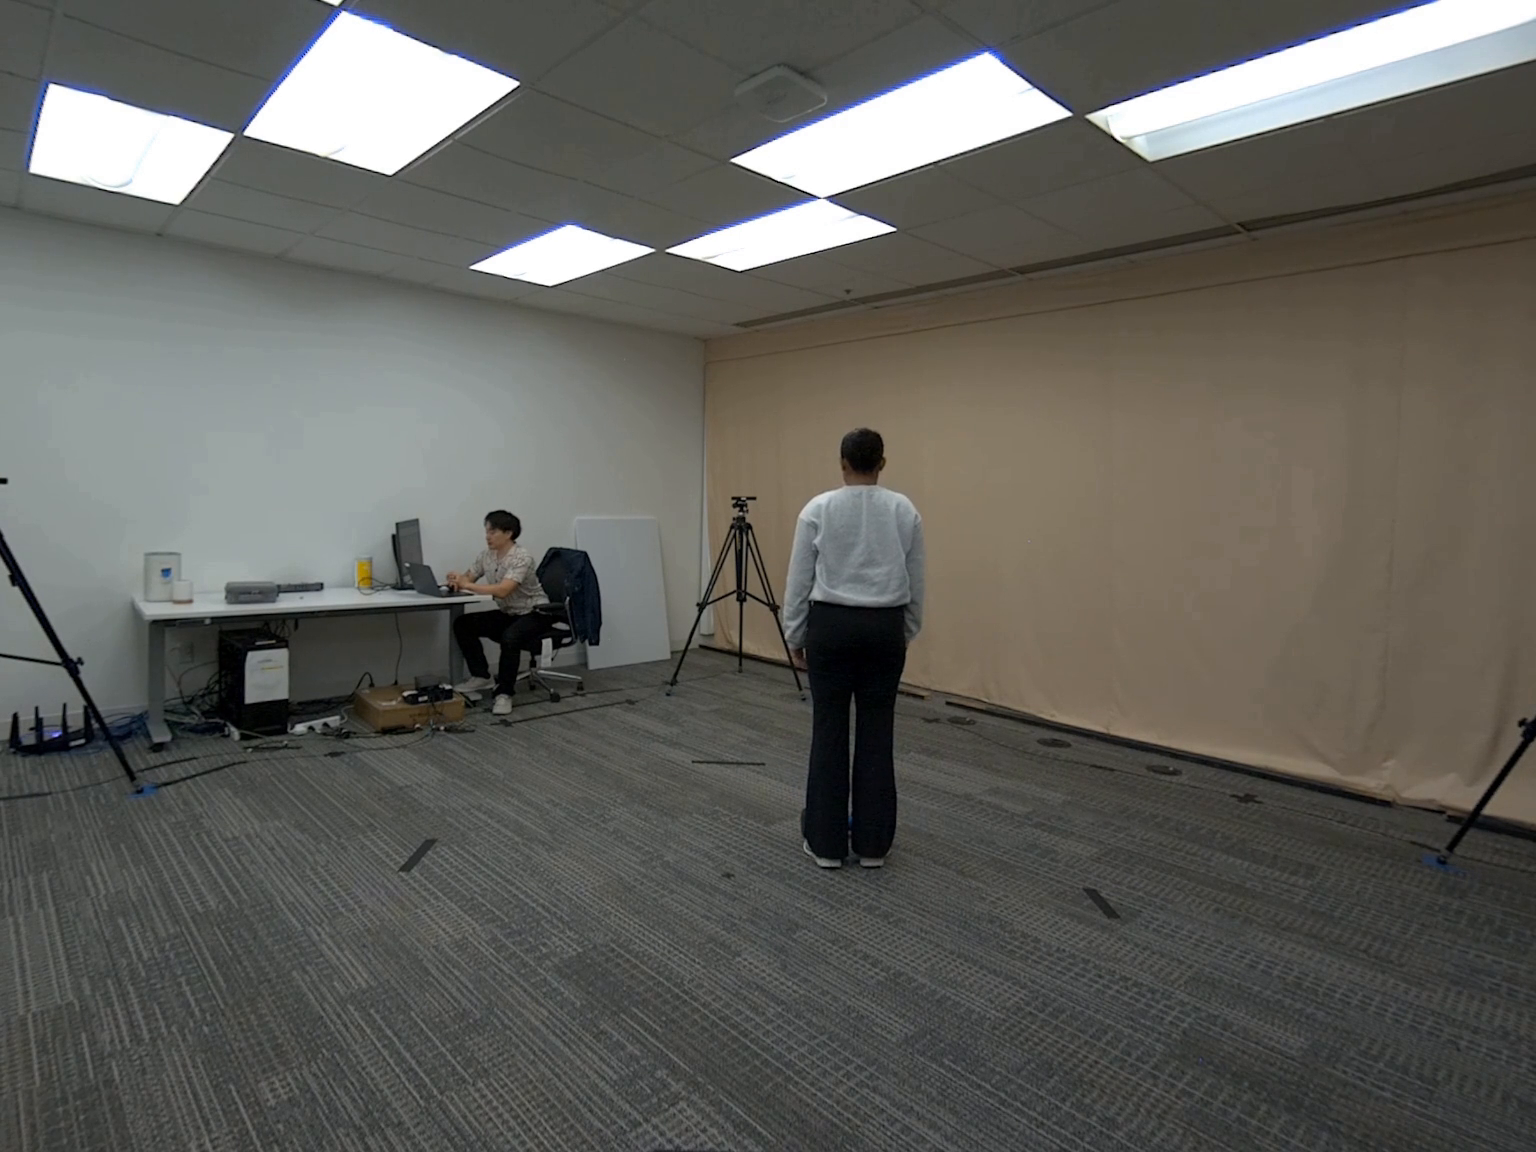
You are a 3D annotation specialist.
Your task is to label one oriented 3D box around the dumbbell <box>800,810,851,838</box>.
[{"bbox_3d":[0.283,1.037,3.498,0.292,0.120,0.111,1,36,-4],"label":"dumbbell"}]
